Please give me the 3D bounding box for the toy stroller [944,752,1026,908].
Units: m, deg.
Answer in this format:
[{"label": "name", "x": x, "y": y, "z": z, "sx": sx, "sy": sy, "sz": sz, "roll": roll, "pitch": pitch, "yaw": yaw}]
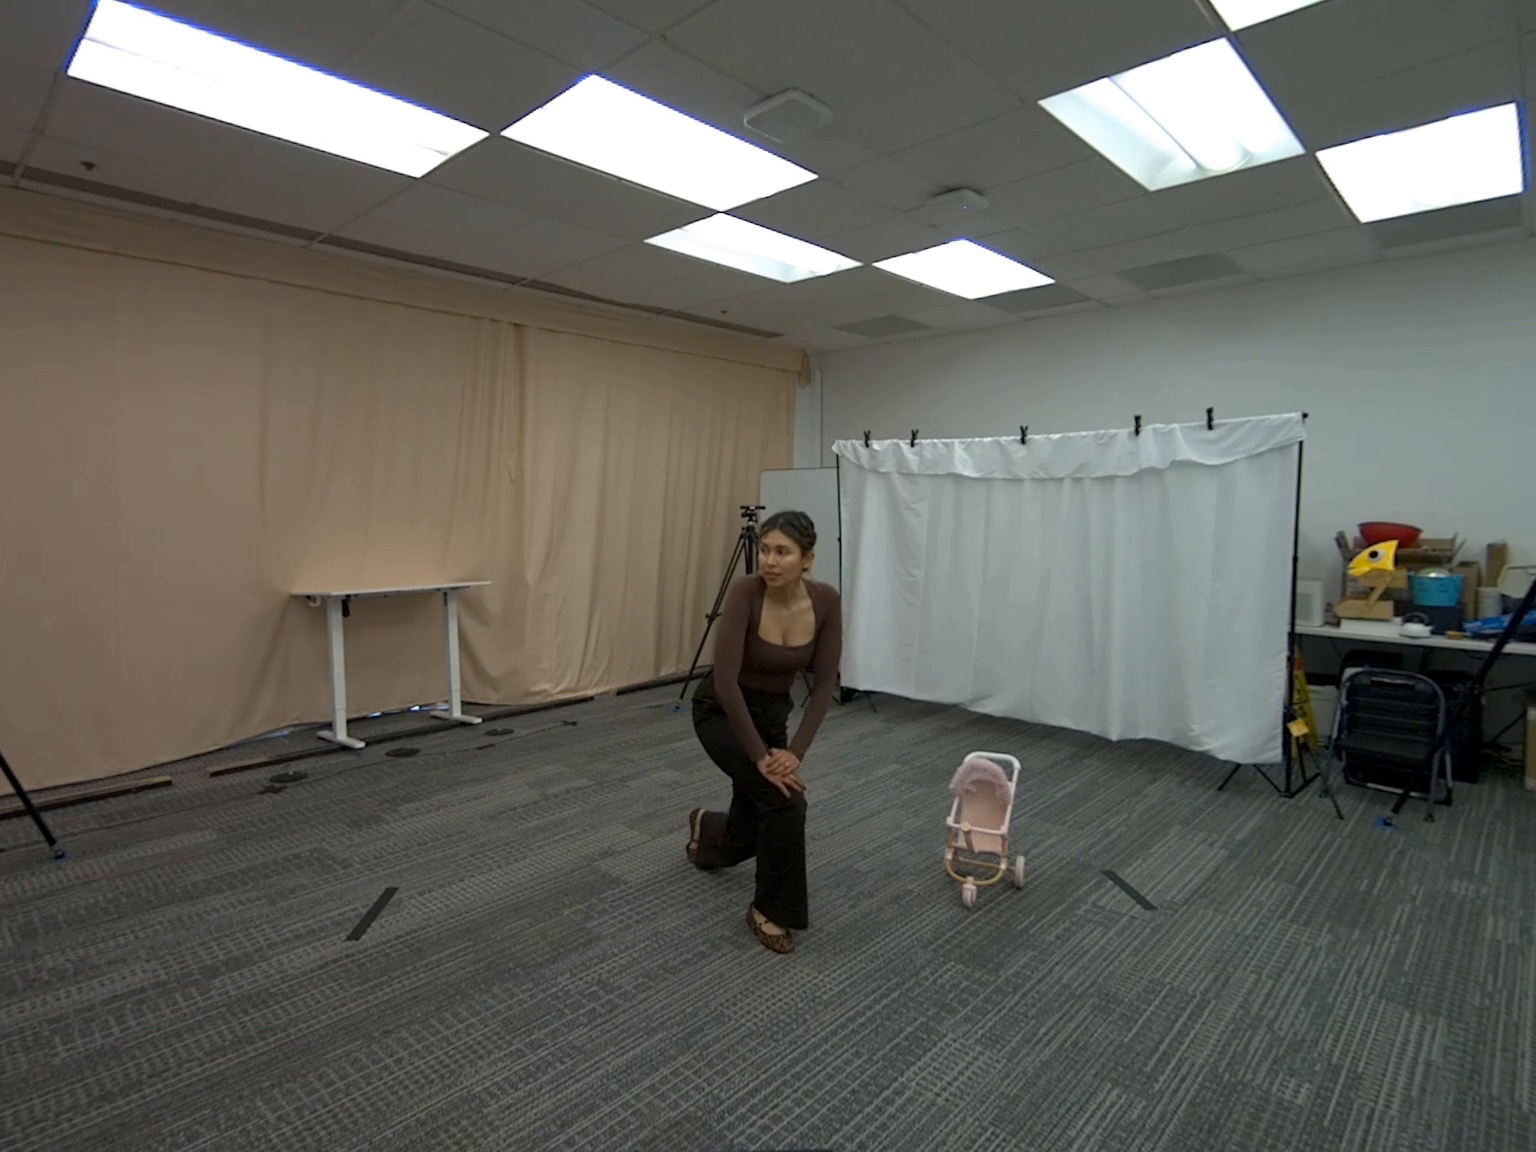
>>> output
[{"label": "toy stroller", "x": 0.771, "y": 0.905, "z": 3.067, "sx": 0.289, "sy": 0.538, "sz": 0.330, "roll": 0, "pitch": -13, "yaw": 31}]
